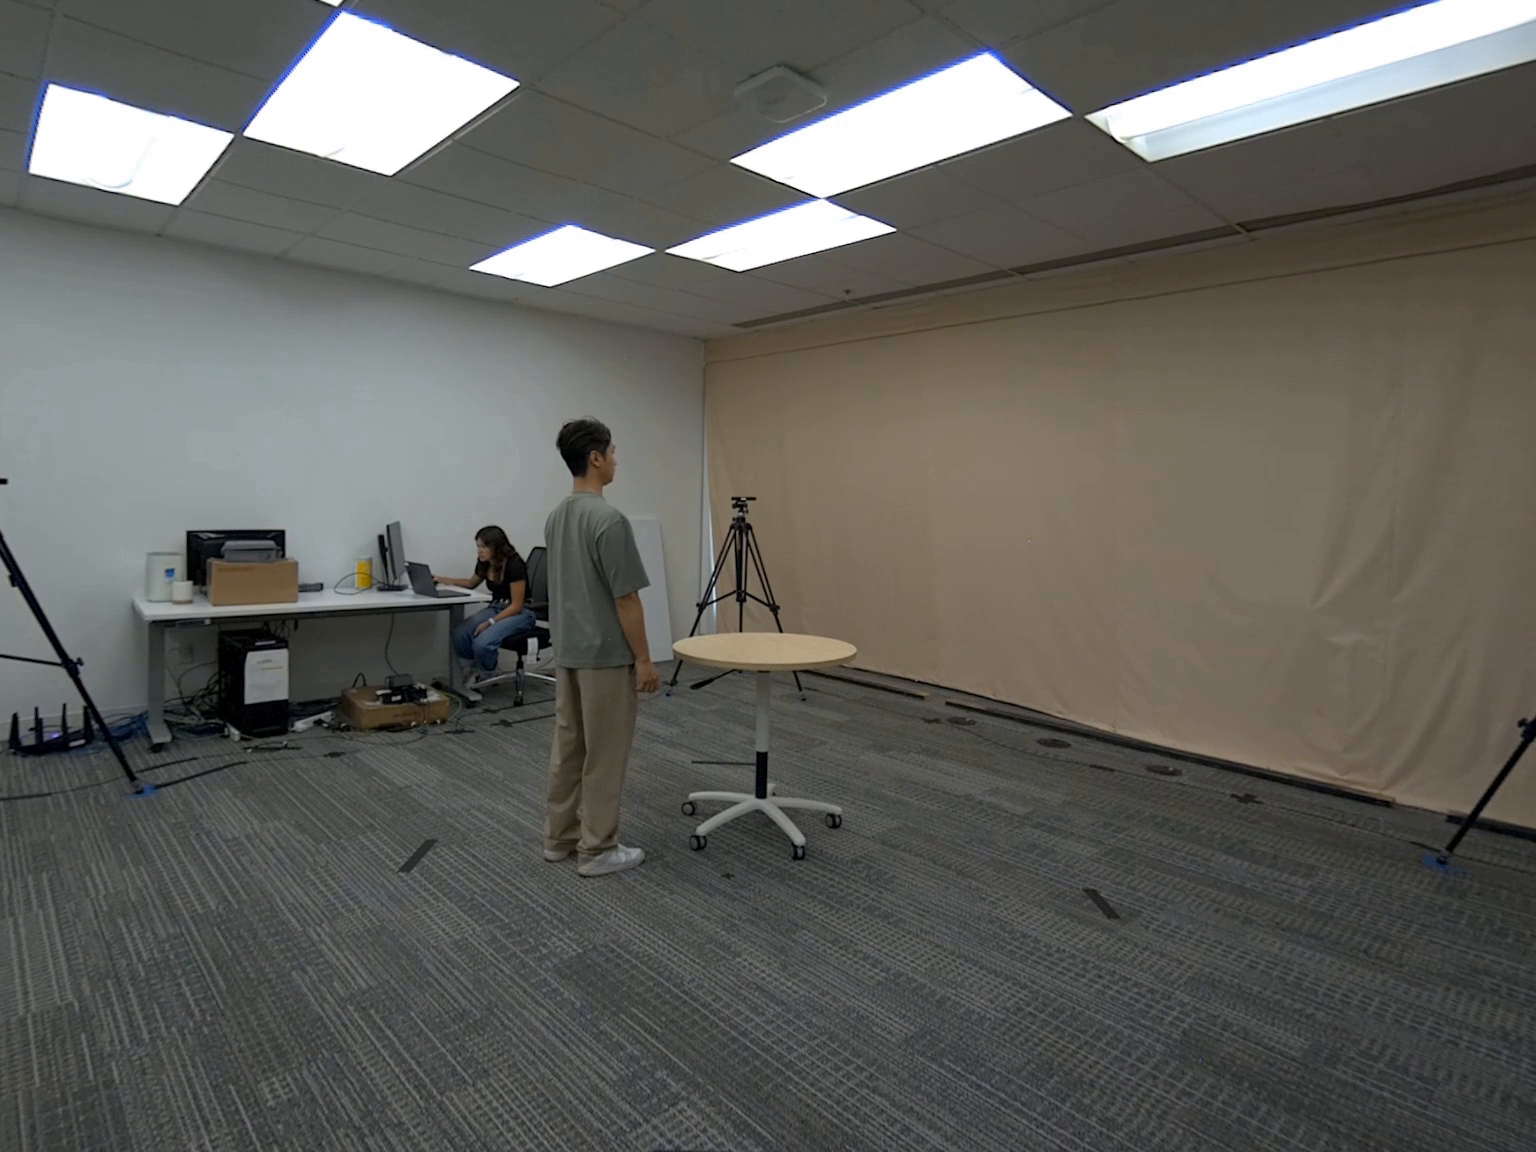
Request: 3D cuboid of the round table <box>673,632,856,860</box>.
[{"bbox_3d":[-0.023,0.683,3.533,0.784,0.785,0.787,1,4,-1],"label":"round table"}]
